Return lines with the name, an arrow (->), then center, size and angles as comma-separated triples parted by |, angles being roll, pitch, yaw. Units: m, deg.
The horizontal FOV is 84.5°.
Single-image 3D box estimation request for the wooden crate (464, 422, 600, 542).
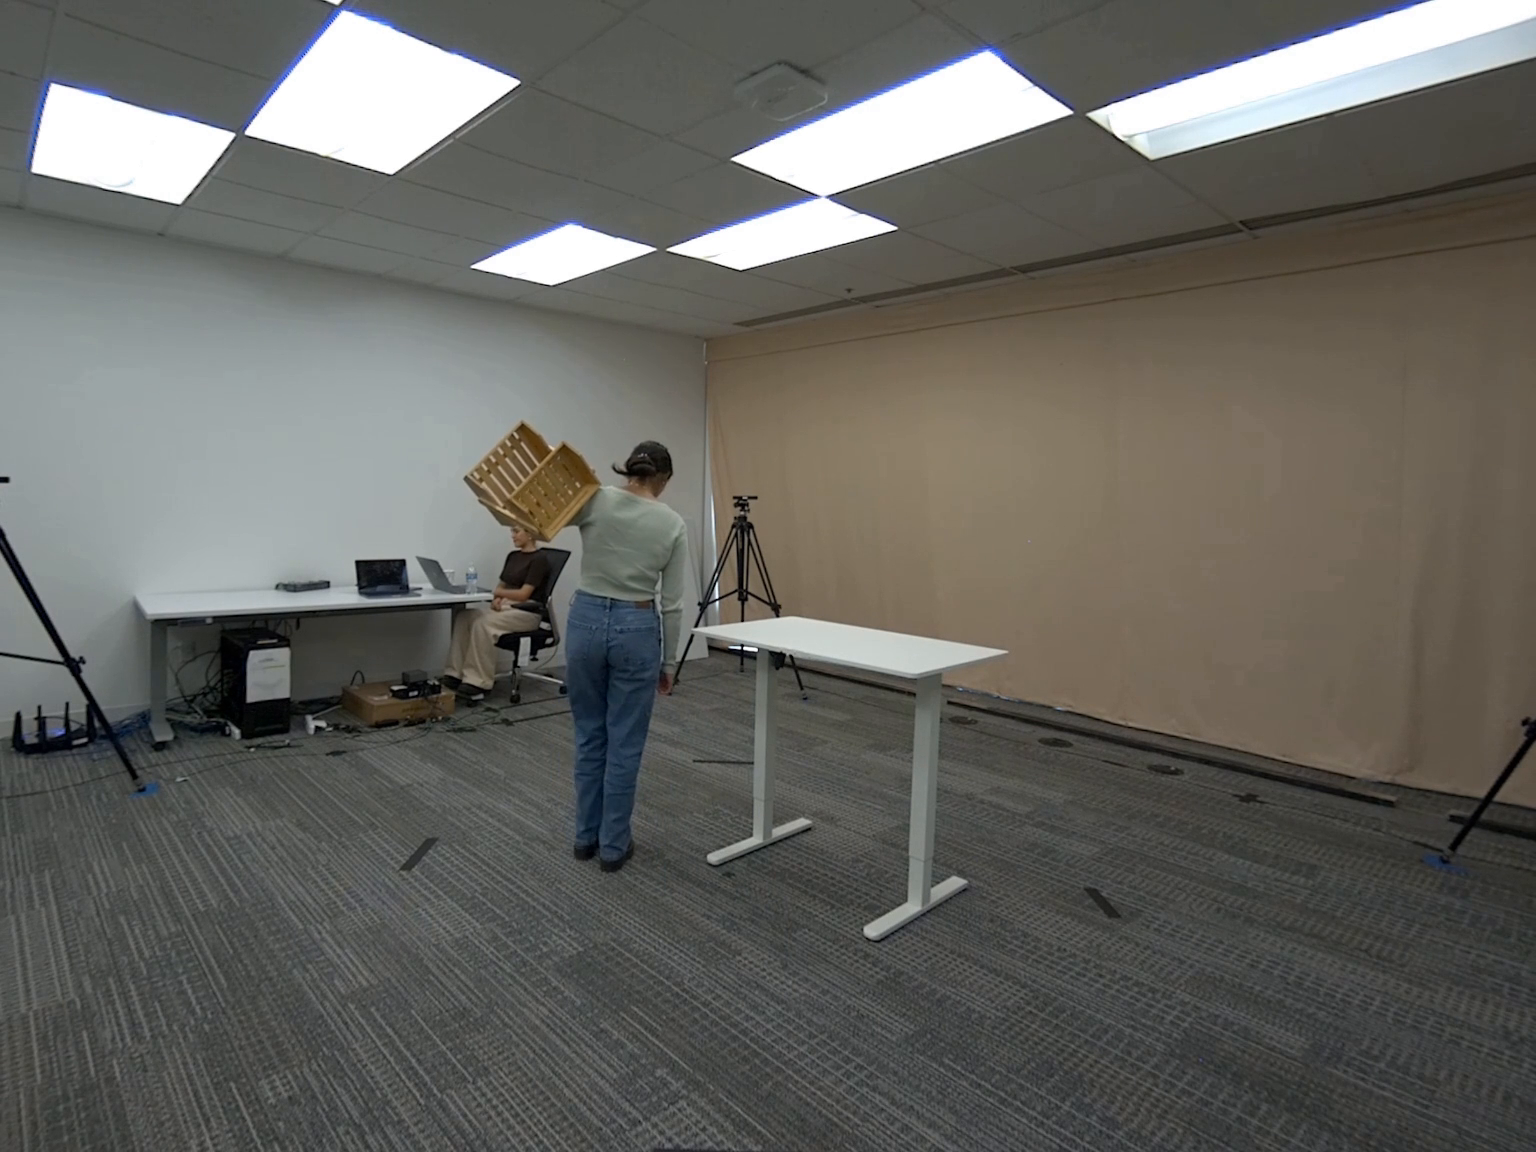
wooden crate -> -0.850, -0.344, 3.004 | 0.281, 0.325, 0.293 | 11, -36, 41
